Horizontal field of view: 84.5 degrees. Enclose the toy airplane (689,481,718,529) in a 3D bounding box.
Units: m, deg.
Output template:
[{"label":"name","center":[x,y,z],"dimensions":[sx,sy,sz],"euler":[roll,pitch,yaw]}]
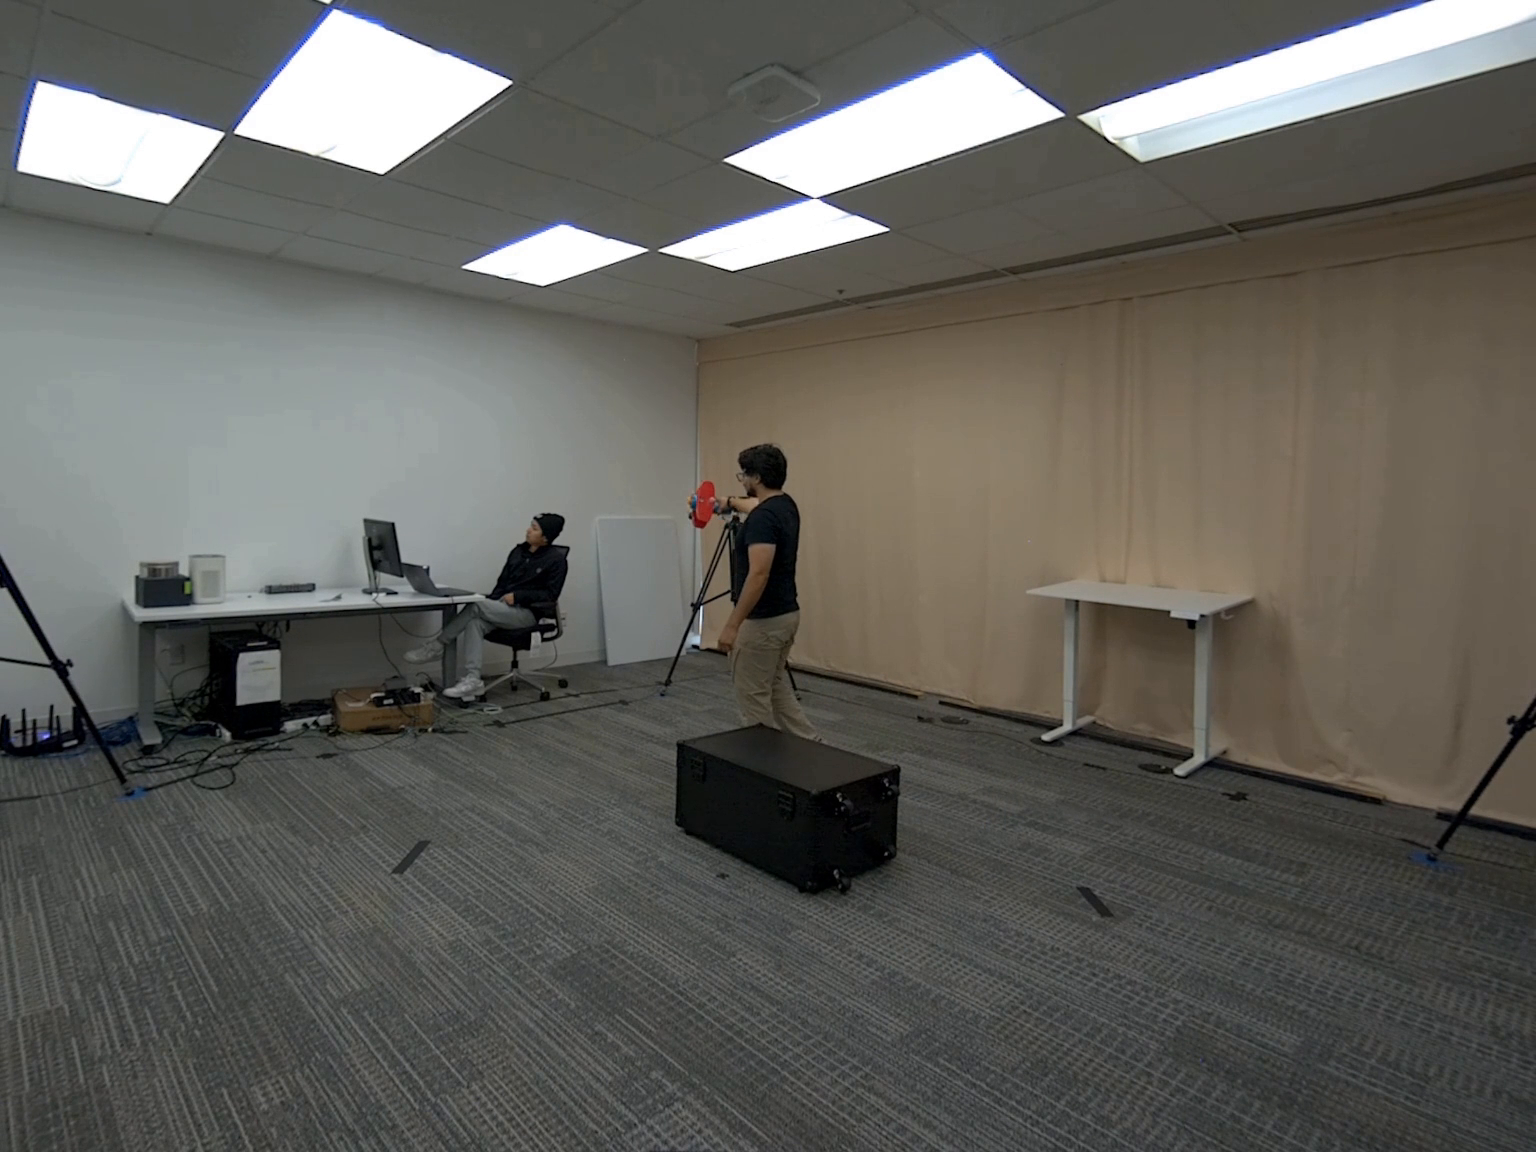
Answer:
[{"label":"toy airplane","center":[-0.322,-0.398,4.642],"dimensions":[0.257,0.256,0.154],"euler":[-18,-21,-15]}]
